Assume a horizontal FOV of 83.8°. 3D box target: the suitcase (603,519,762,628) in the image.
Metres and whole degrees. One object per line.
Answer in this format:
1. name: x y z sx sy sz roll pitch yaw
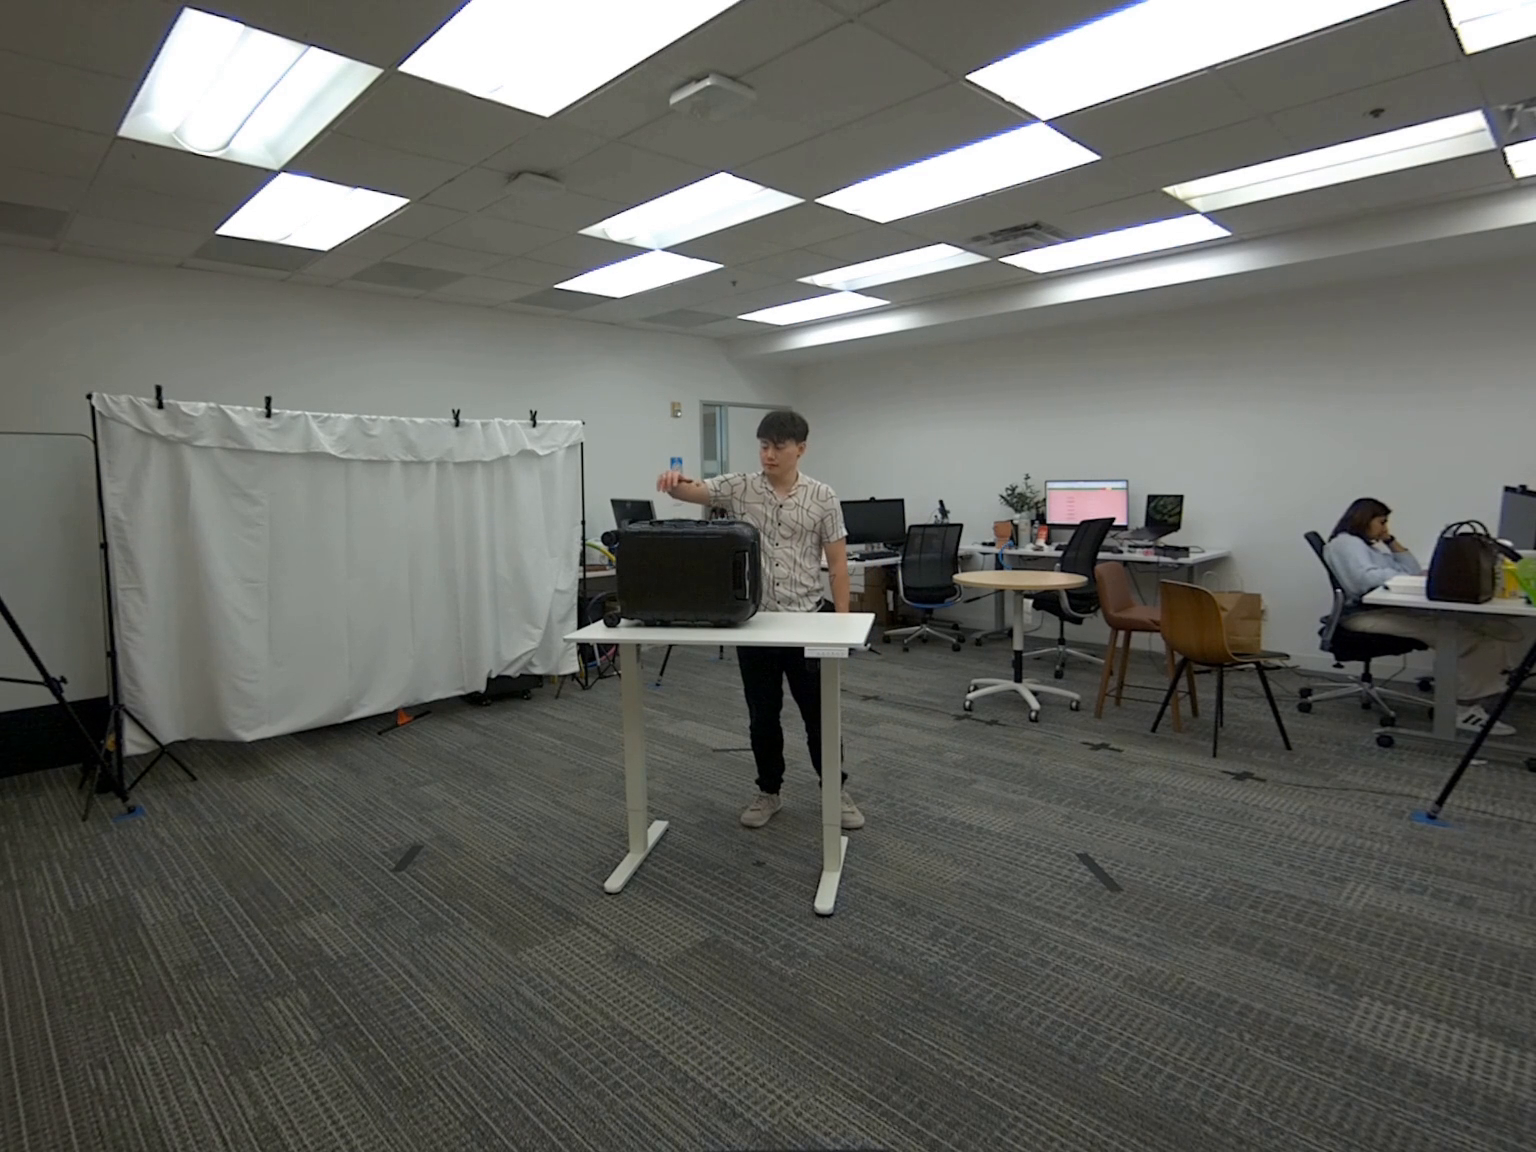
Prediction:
1. suitcase: -0.297 -0.019 3.073 0.557 0.374 0.245 0 4 15
